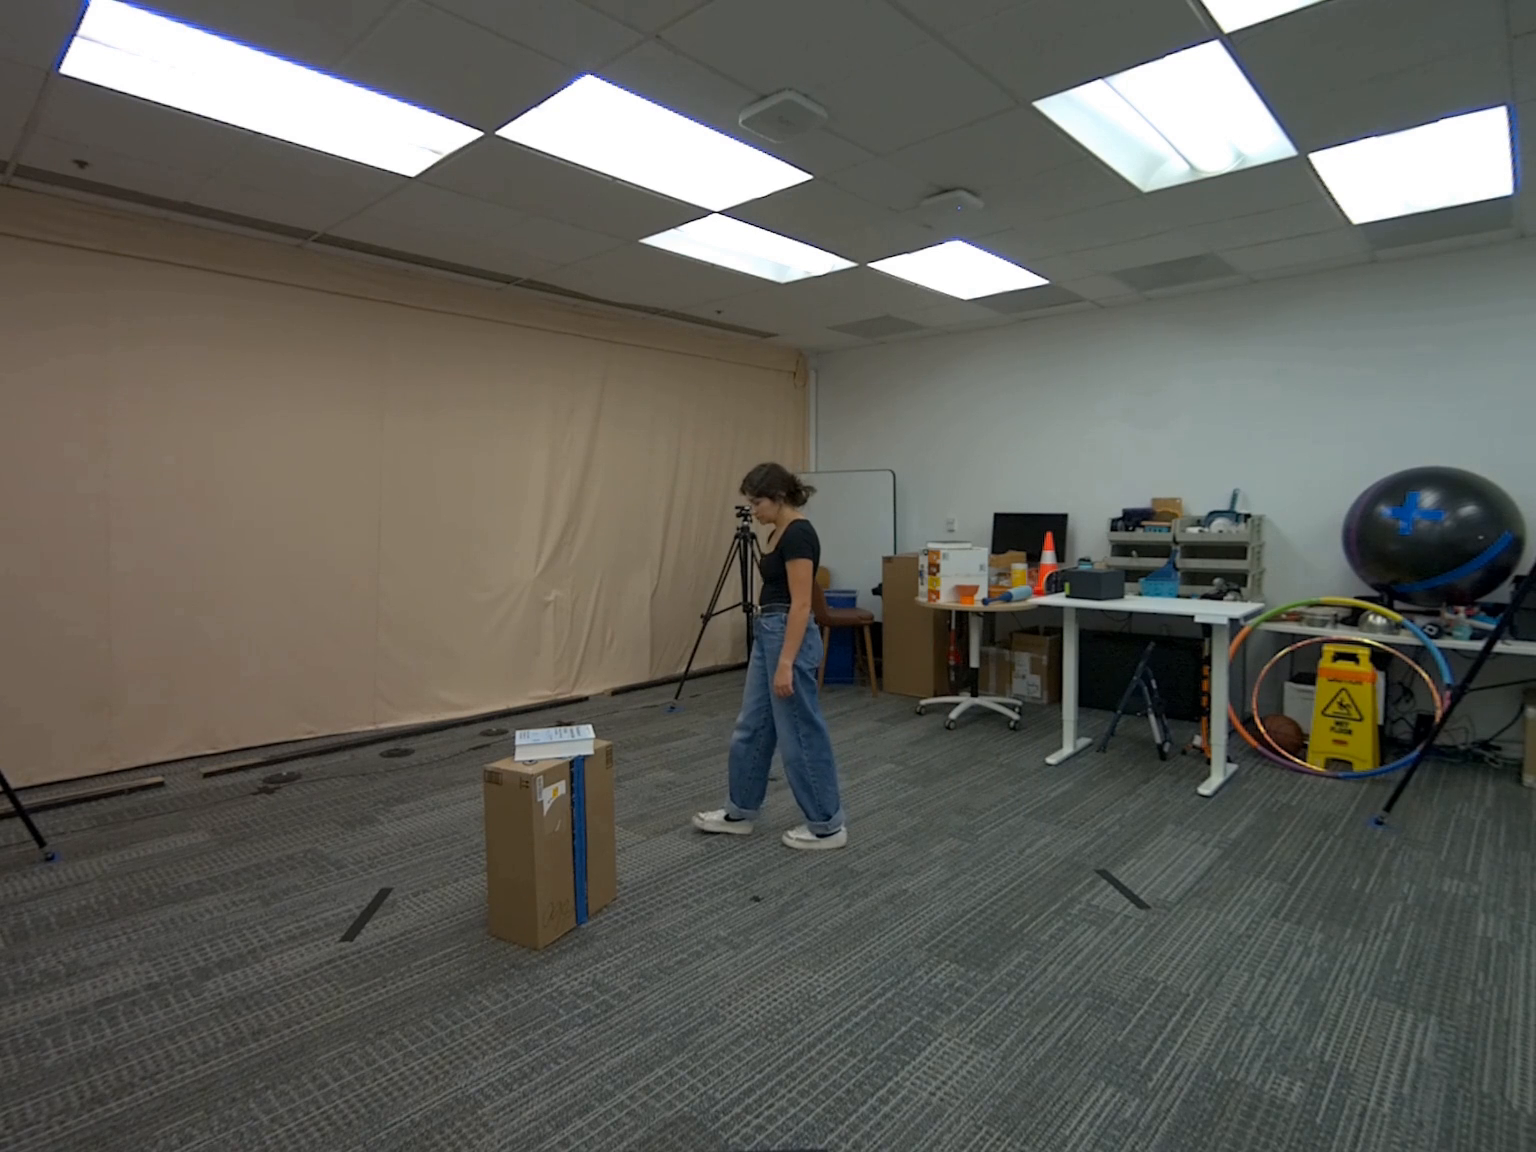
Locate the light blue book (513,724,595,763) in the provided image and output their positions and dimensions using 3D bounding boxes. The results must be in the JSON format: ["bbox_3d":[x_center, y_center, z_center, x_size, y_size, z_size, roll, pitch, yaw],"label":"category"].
[{"bbox_3d":[-0.736,0.568,2.874,0.257,0.059,0.194,-2,4,-13],"label":"light blue book"}]
